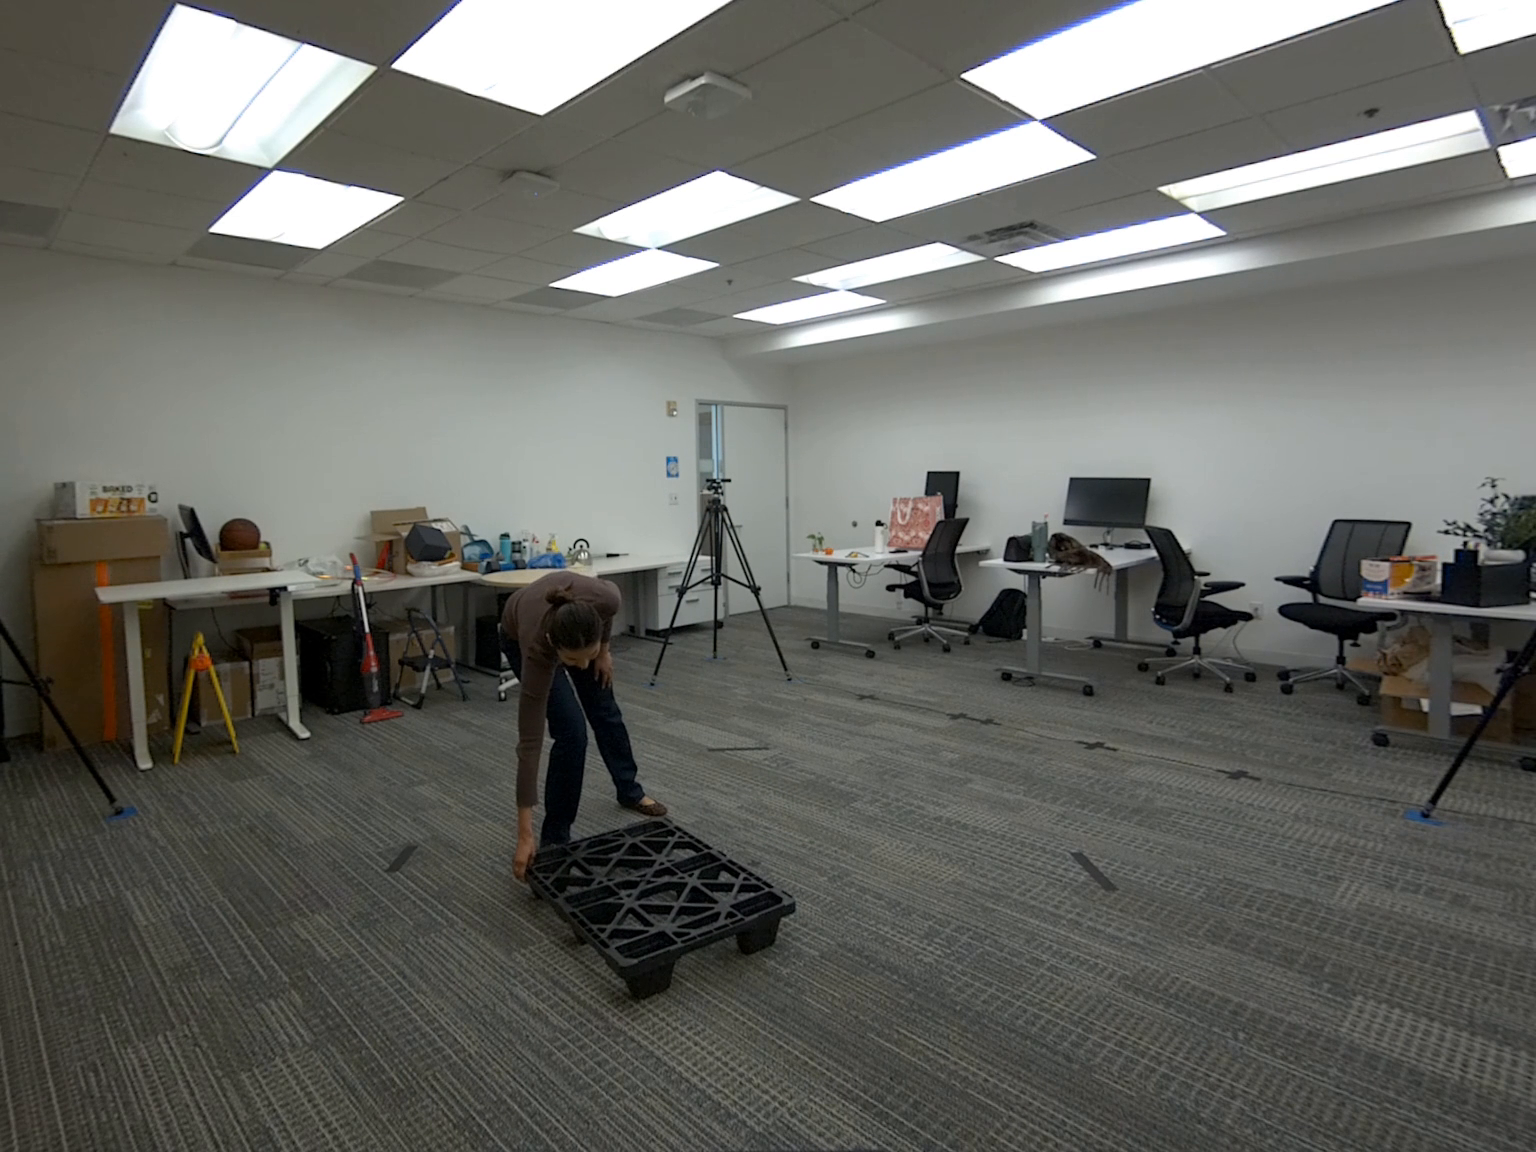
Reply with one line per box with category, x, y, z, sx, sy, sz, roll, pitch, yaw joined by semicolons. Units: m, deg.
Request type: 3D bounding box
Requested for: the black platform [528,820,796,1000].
black platform;-0.384;1.027;2.731;0.589;0.142;0.830;-5;8;-36
